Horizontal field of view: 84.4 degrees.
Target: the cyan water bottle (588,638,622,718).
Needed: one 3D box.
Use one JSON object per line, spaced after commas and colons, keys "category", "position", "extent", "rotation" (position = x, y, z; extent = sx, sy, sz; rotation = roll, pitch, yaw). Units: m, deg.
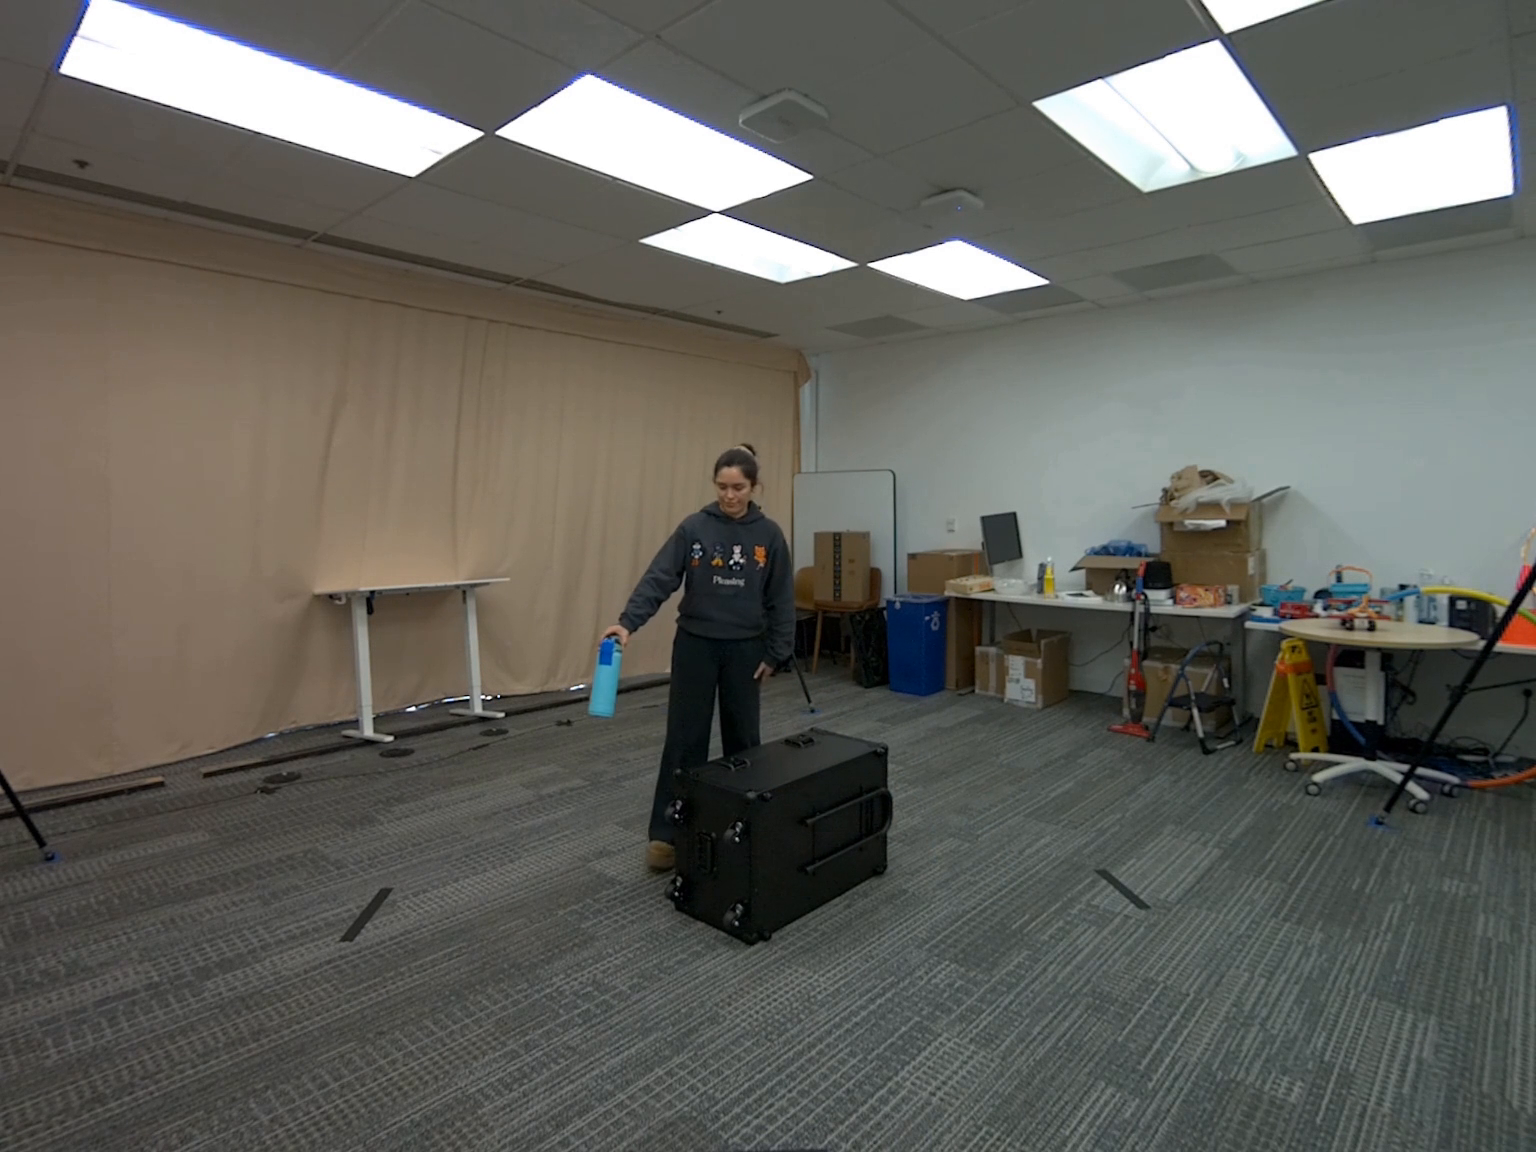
{"category": "cyan water bottle", "position": [-0.552, 0.364, 2.998], "extent": [0.092, 0.285, 0.092], "rotation": [7, -10, -1]}
